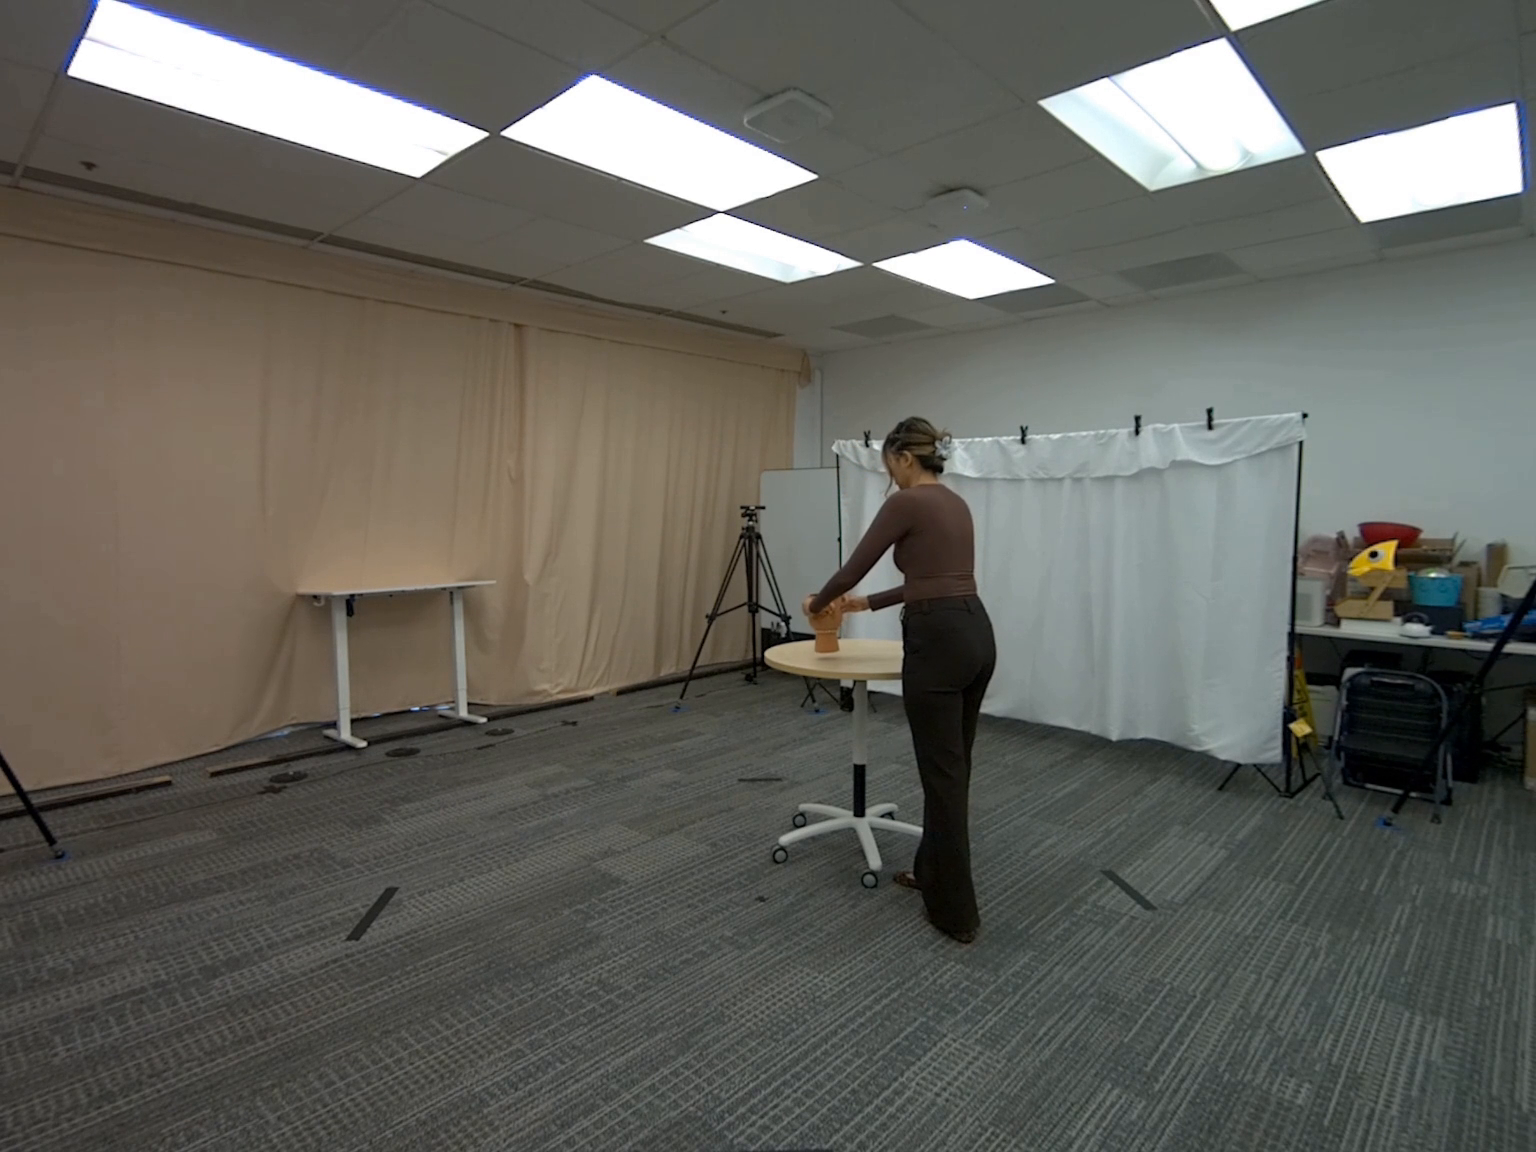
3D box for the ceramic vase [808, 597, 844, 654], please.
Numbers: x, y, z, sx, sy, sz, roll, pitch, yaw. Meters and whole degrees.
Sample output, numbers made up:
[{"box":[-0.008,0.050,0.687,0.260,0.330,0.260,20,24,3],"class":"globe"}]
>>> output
[{"box":[0.228,0.182,3.264,0.138,0.219,0.155,0,4,23],"class":"ceramic vase"}]
